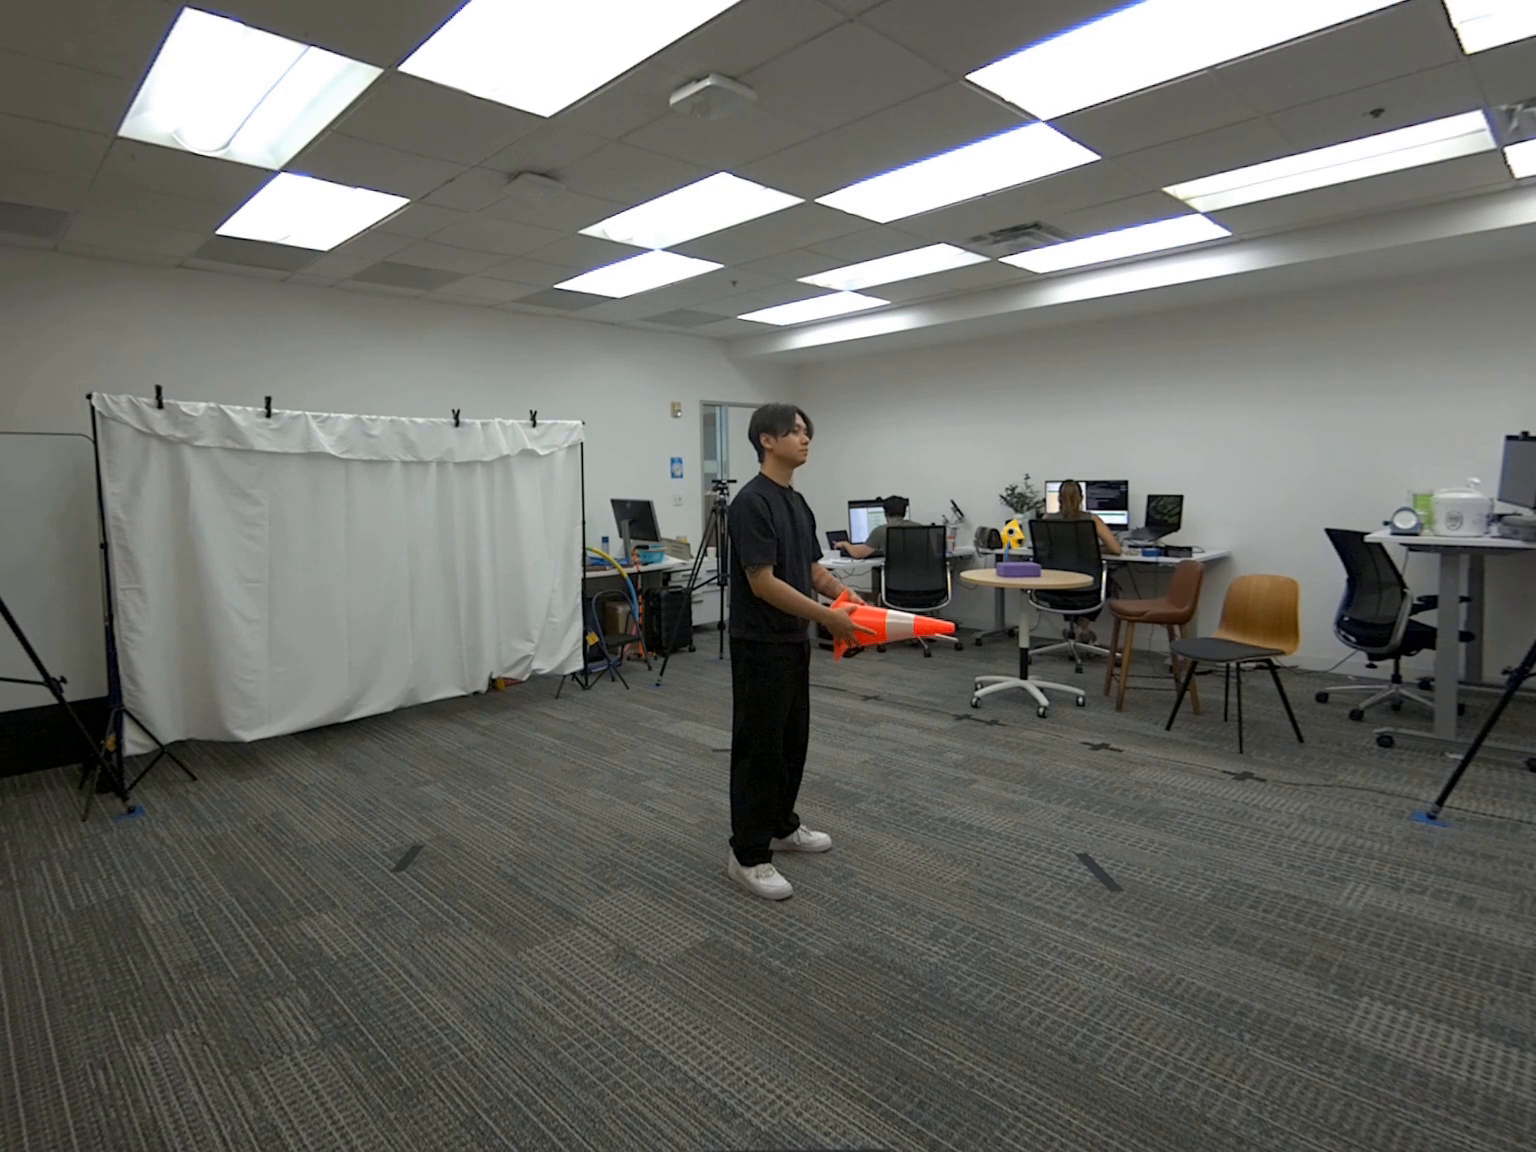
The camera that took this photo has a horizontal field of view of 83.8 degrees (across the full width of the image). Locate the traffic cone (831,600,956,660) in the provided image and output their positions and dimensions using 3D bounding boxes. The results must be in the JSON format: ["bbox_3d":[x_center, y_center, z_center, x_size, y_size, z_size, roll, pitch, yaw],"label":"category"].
[{"bbox_3d":[0.427,0.172,2.851,0.392,0.201,0.202,1,19,25],"label":"traffic cone"}]
